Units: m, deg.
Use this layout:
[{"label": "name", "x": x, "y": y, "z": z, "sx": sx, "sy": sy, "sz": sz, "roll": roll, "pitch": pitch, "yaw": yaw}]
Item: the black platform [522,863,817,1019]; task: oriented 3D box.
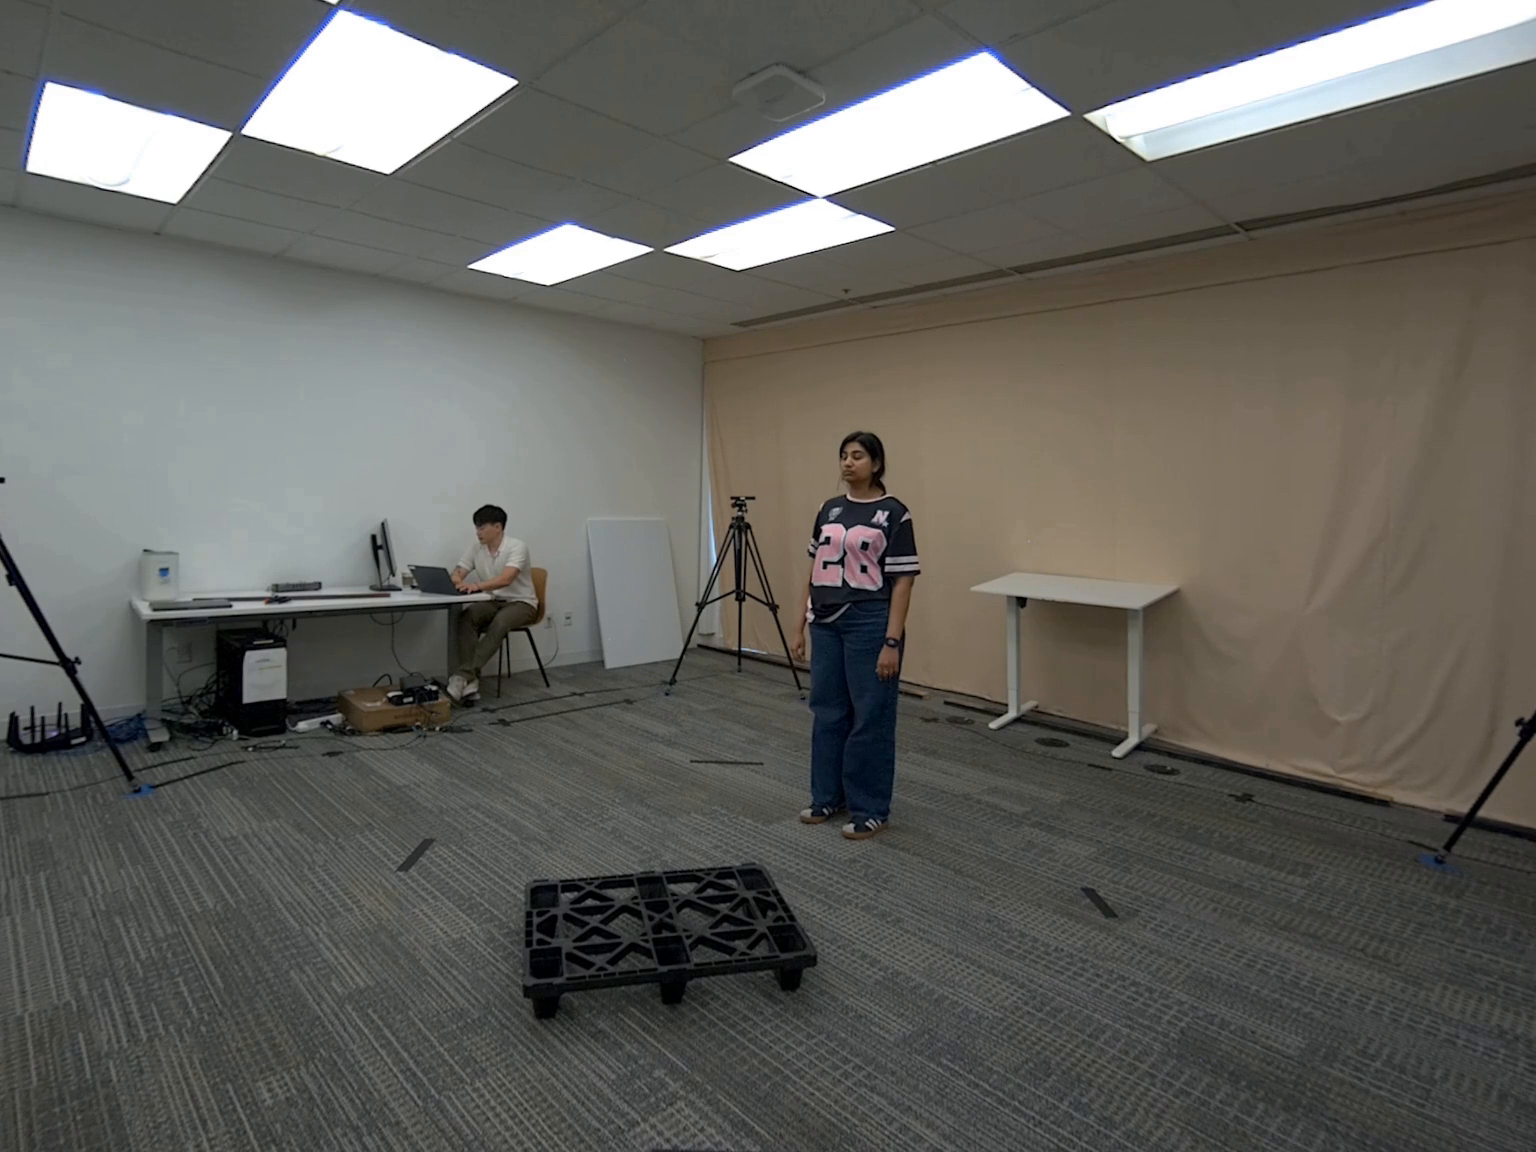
[{"label": "black platform", "x": -0.328, "y": 1.080, "z": 2.537, "sx": 0.797, "sy": 0.143, "sz": 0.613, "roll": 0, "pitch": 5, "yaw": -13}]
